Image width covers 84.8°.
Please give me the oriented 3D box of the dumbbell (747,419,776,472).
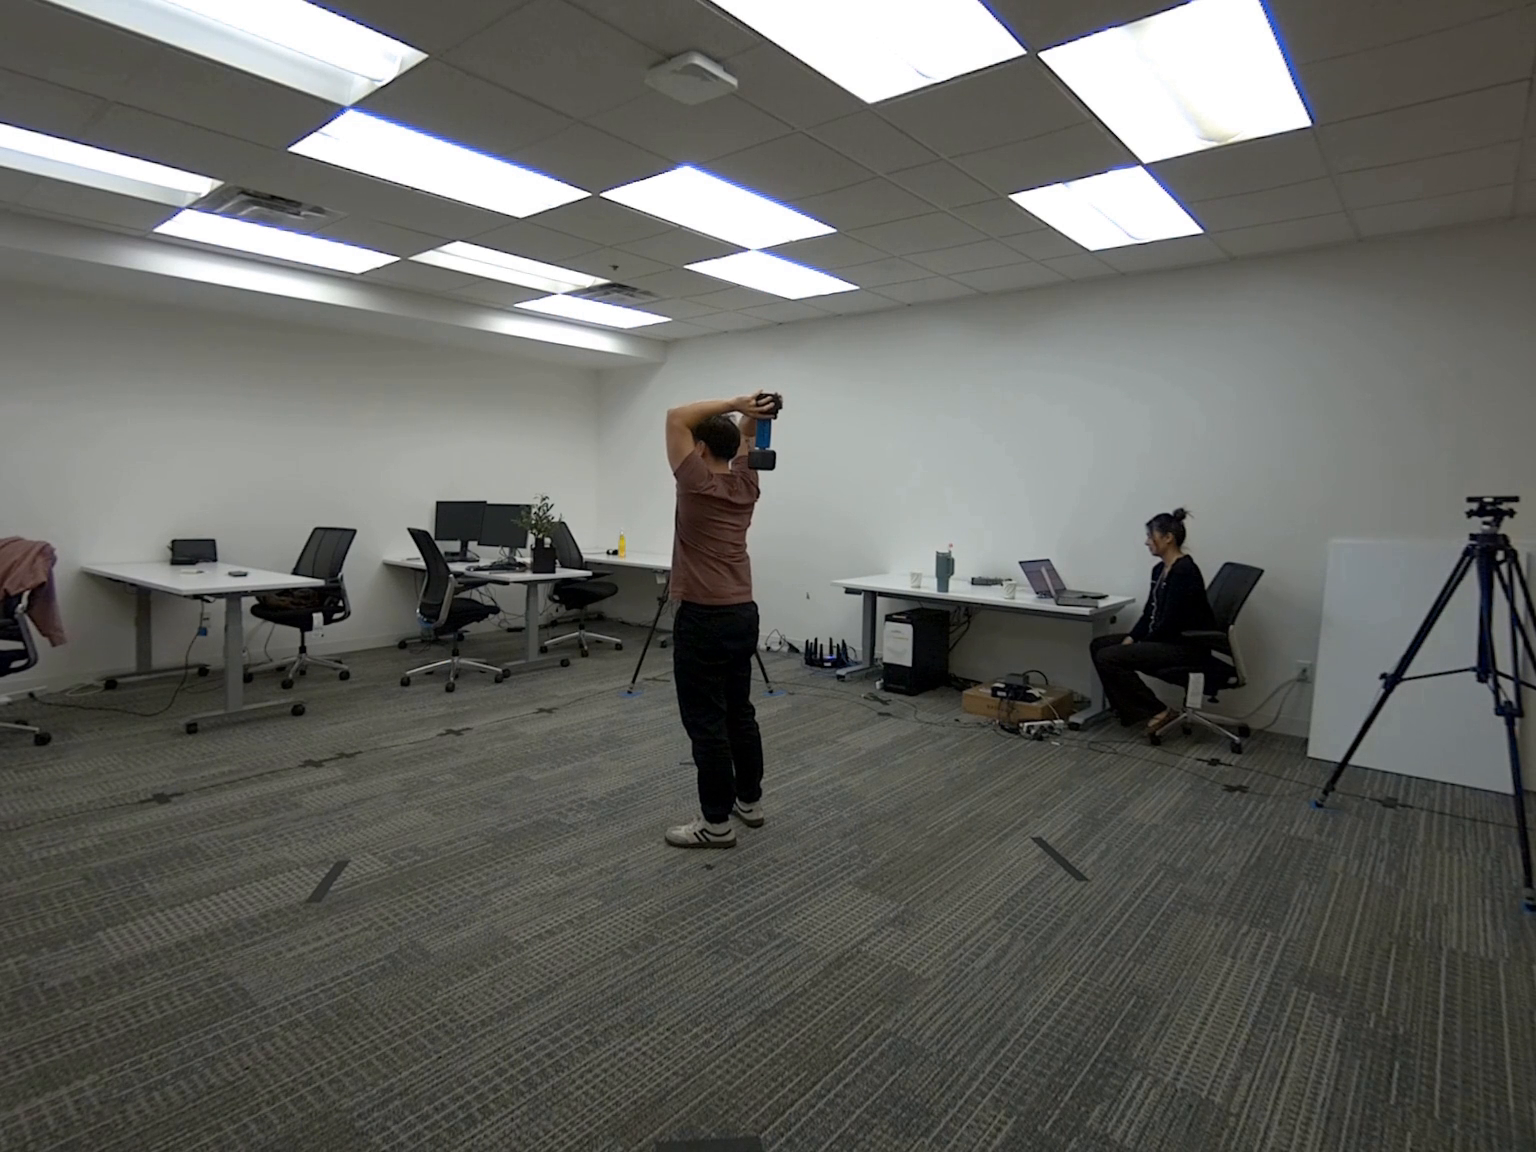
[{"bbox_3d":[-0.040,-0.560,3.281,0.127,0.293,0.105,4,4,37],"label":"dumbbell"}]
